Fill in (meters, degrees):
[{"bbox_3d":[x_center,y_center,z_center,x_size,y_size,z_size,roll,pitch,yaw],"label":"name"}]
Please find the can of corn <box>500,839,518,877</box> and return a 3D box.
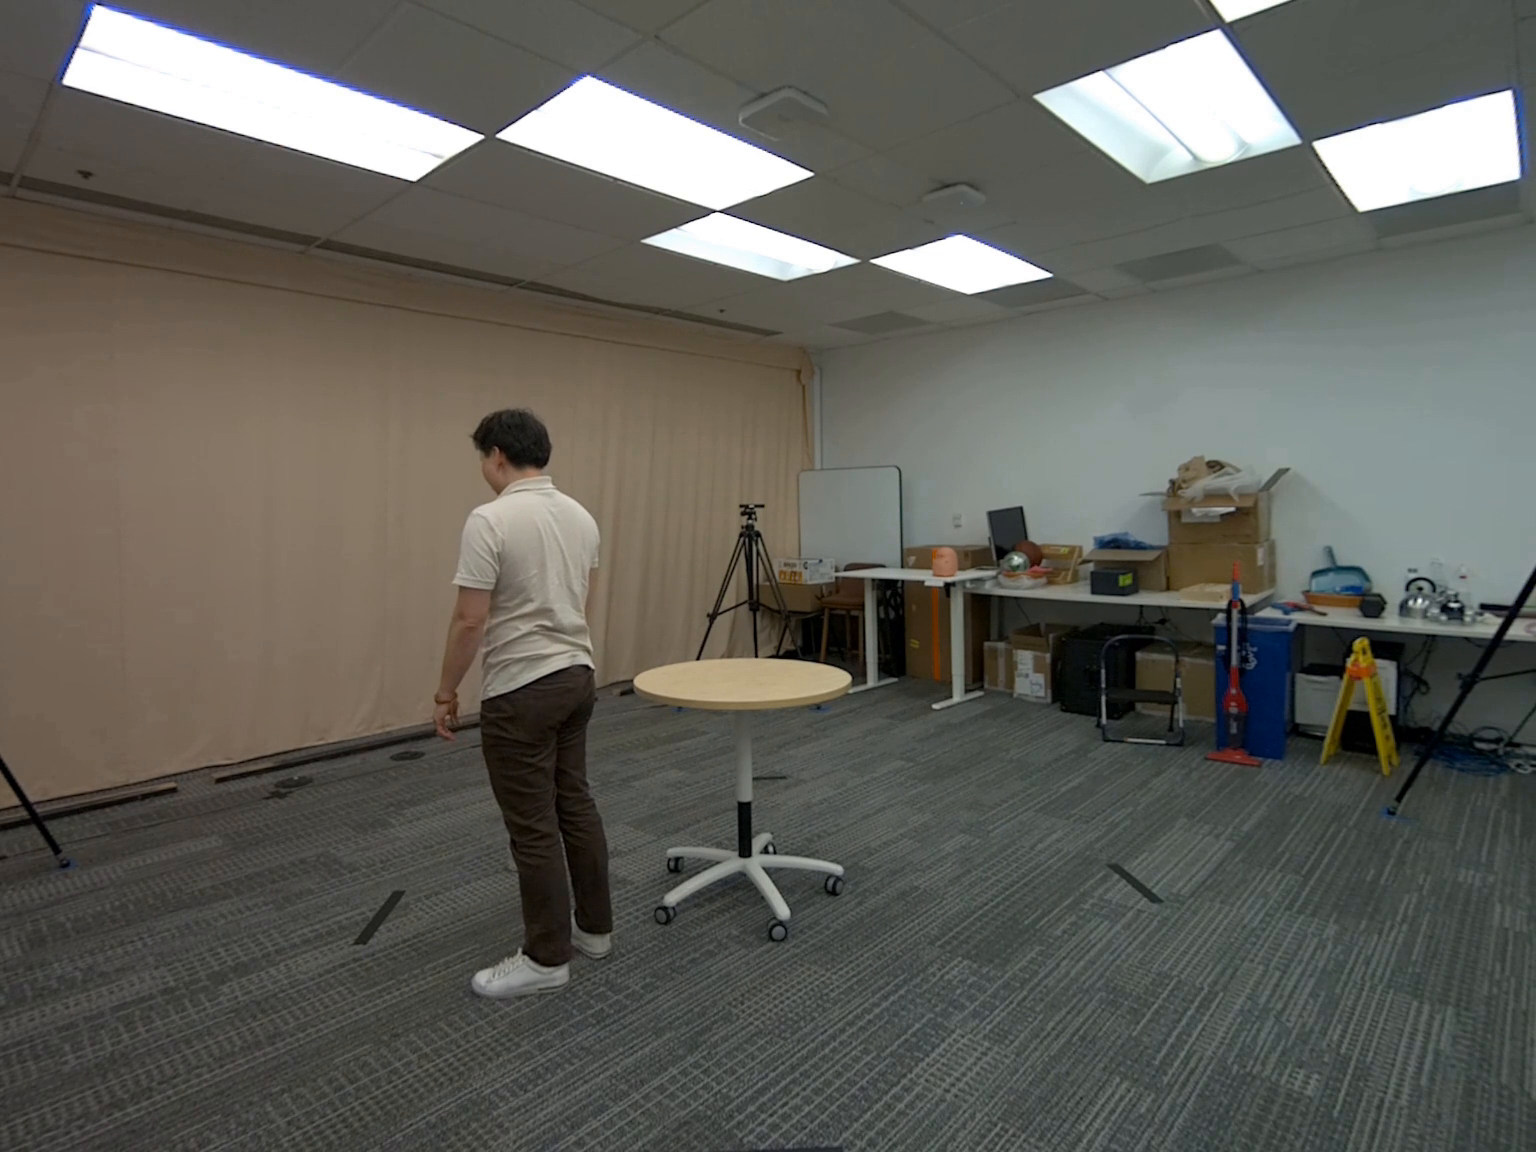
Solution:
[{"bbox_3d":[-0.984,1.083,3.270,0.074,0.110,0.074,-6,6,-1],"label":"can of corn"}]
